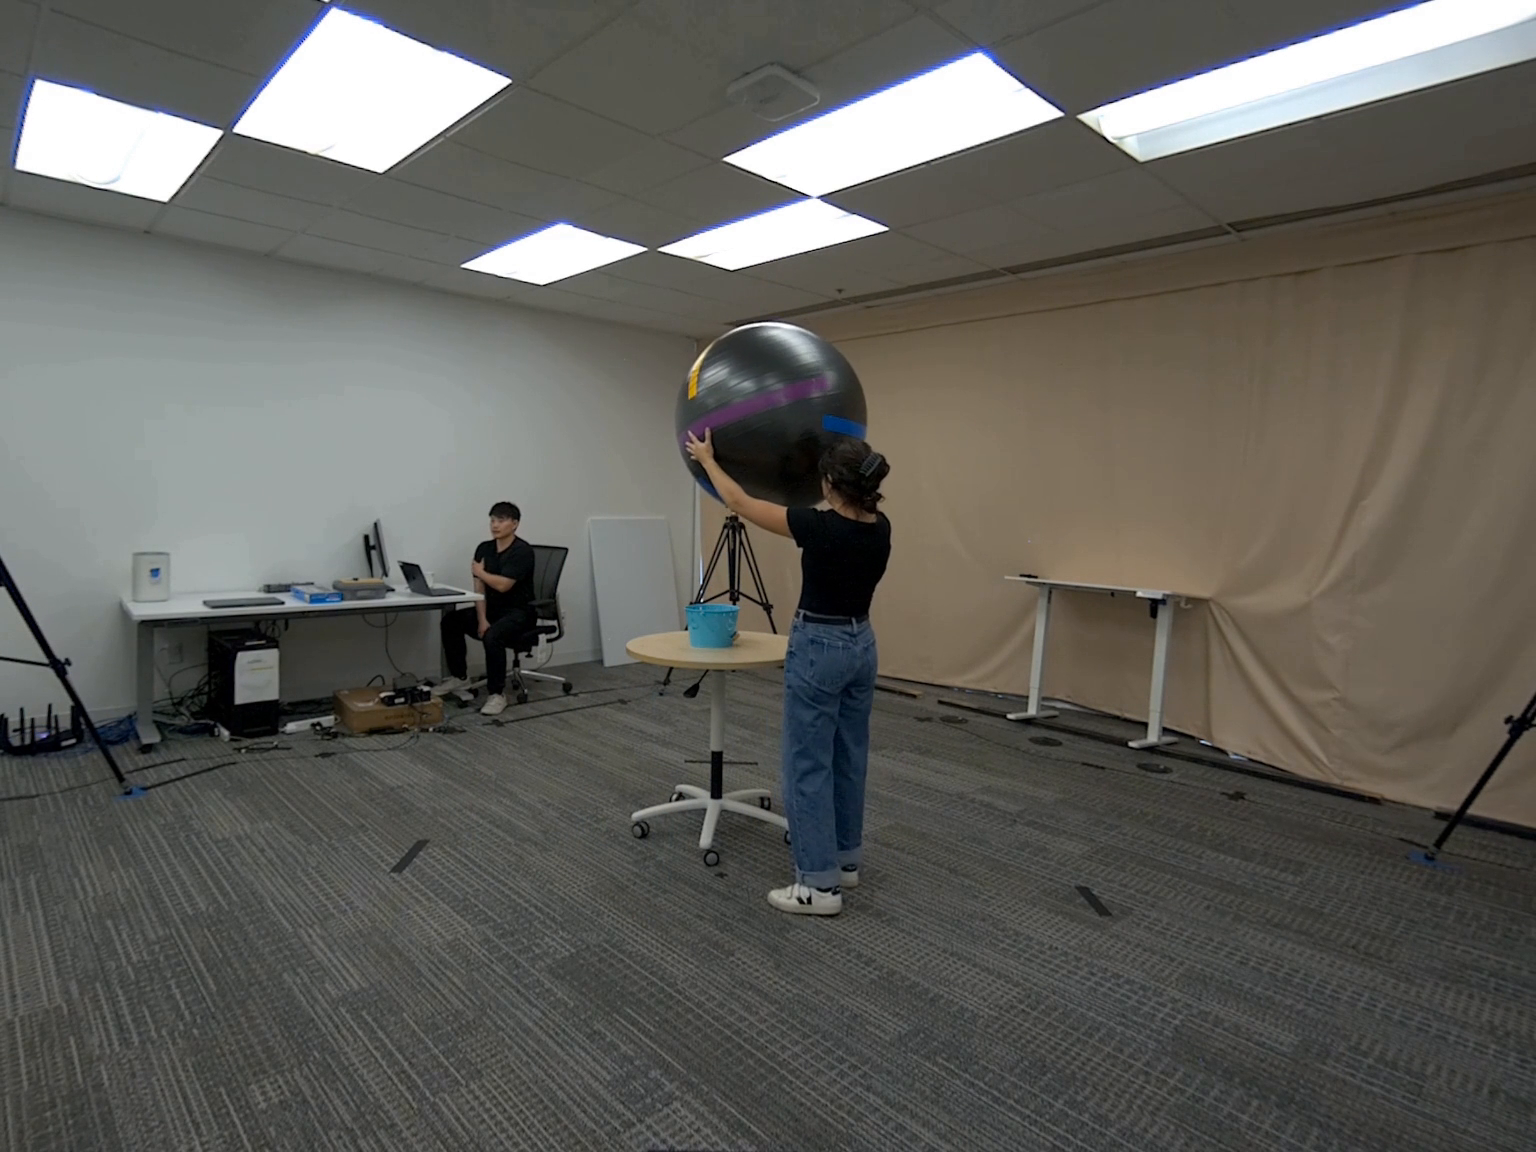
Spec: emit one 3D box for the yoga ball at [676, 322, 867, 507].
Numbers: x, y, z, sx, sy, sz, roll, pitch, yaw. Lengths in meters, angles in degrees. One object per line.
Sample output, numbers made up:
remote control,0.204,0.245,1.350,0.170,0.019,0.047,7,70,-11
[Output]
yoga ball,0.003,-0.610,3.341,0.757,0.756,0.761,1,4,-1
